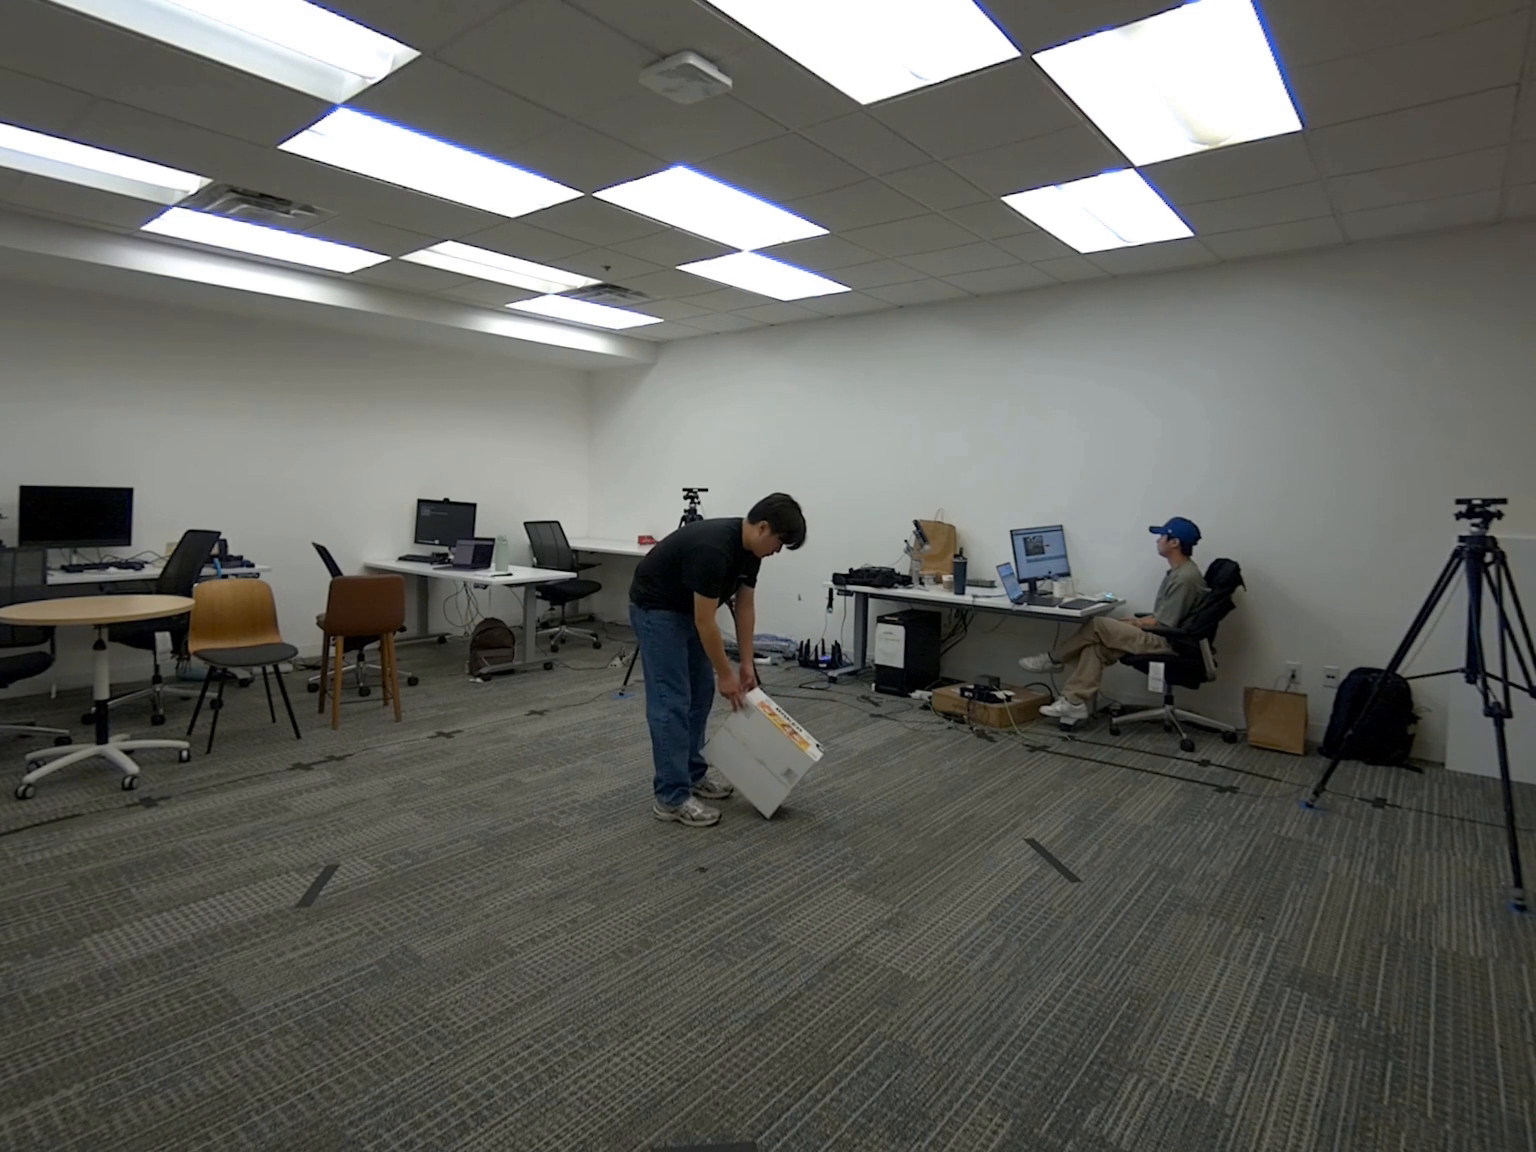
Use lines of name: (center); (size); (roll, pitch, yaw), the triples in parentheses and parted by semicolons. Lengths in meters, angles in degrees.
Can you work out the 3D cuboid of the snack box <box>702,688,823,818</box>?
snack box: (-0.028, 0.761, 3.688); (0.413, 0.340, 0.202); (41, 12, 13)
